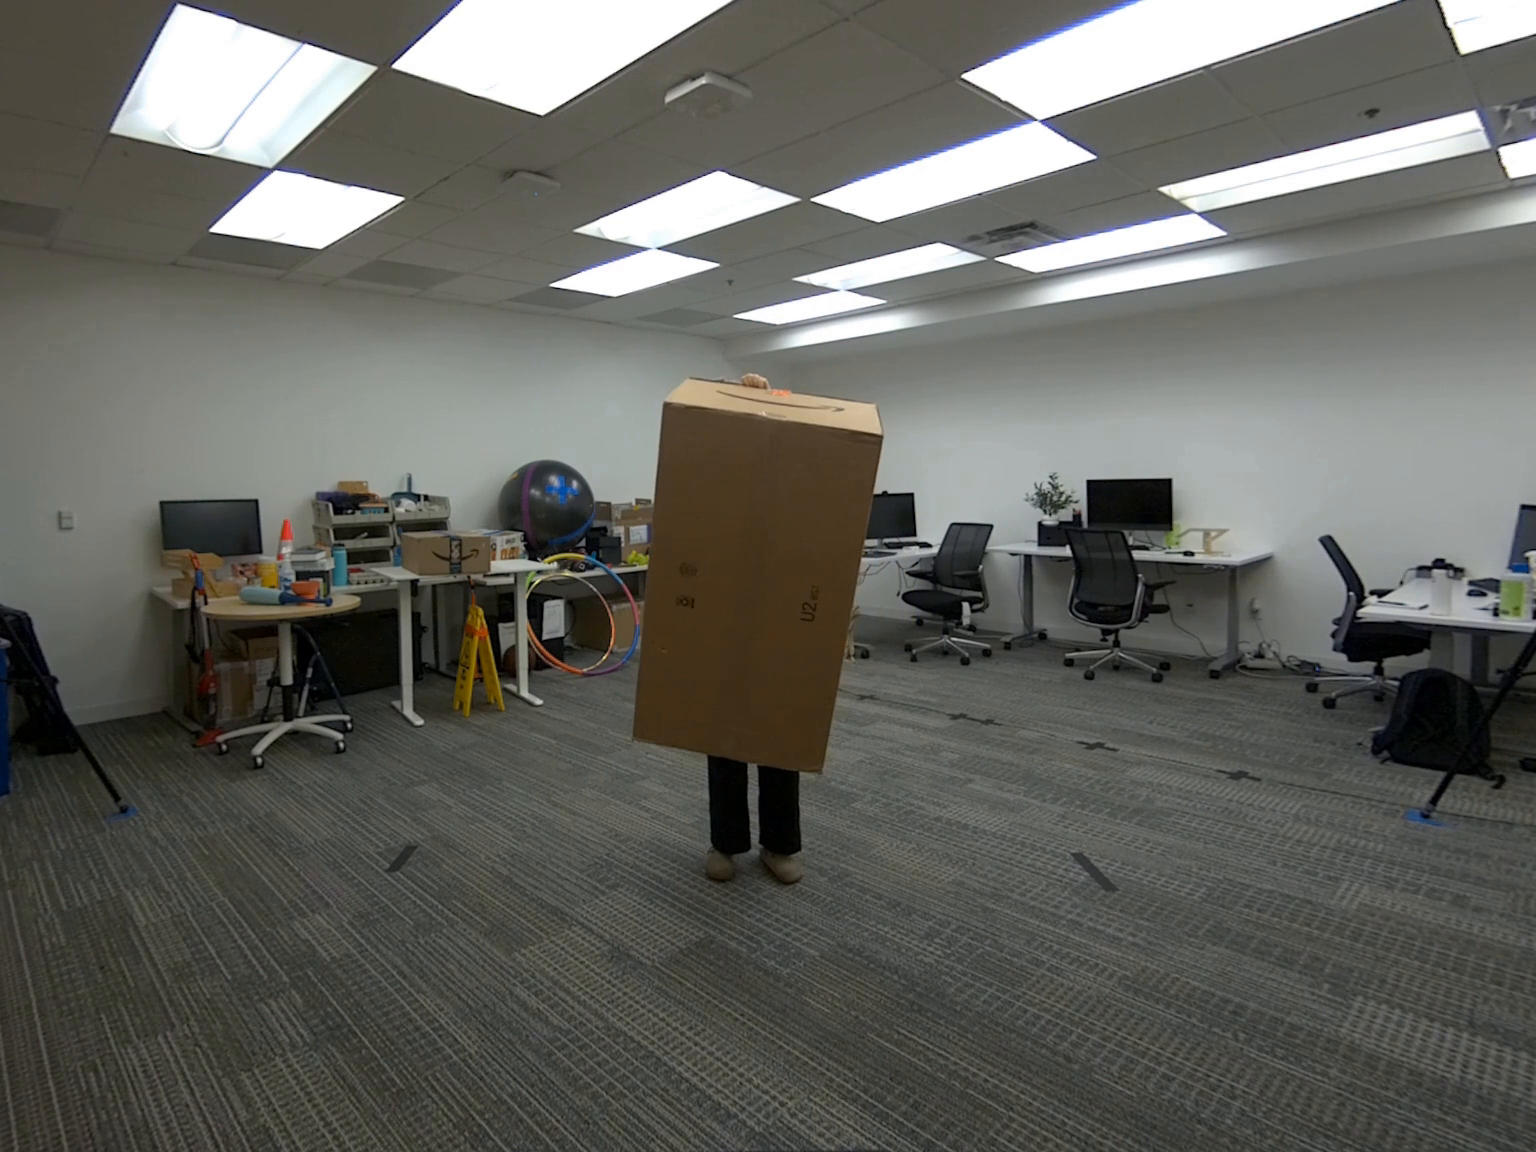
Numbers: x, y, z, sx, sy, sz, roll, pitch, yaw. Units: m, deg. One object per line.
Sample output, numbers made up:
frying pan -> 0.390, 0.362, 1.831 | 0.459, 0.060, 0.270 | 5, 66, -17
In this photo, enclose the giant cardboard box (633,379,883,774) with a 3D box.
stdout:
giant cardboard box -> -0.035, -0.018, 2.530 | 0.581, 1.011, 0.430 | 9, 20, 4
